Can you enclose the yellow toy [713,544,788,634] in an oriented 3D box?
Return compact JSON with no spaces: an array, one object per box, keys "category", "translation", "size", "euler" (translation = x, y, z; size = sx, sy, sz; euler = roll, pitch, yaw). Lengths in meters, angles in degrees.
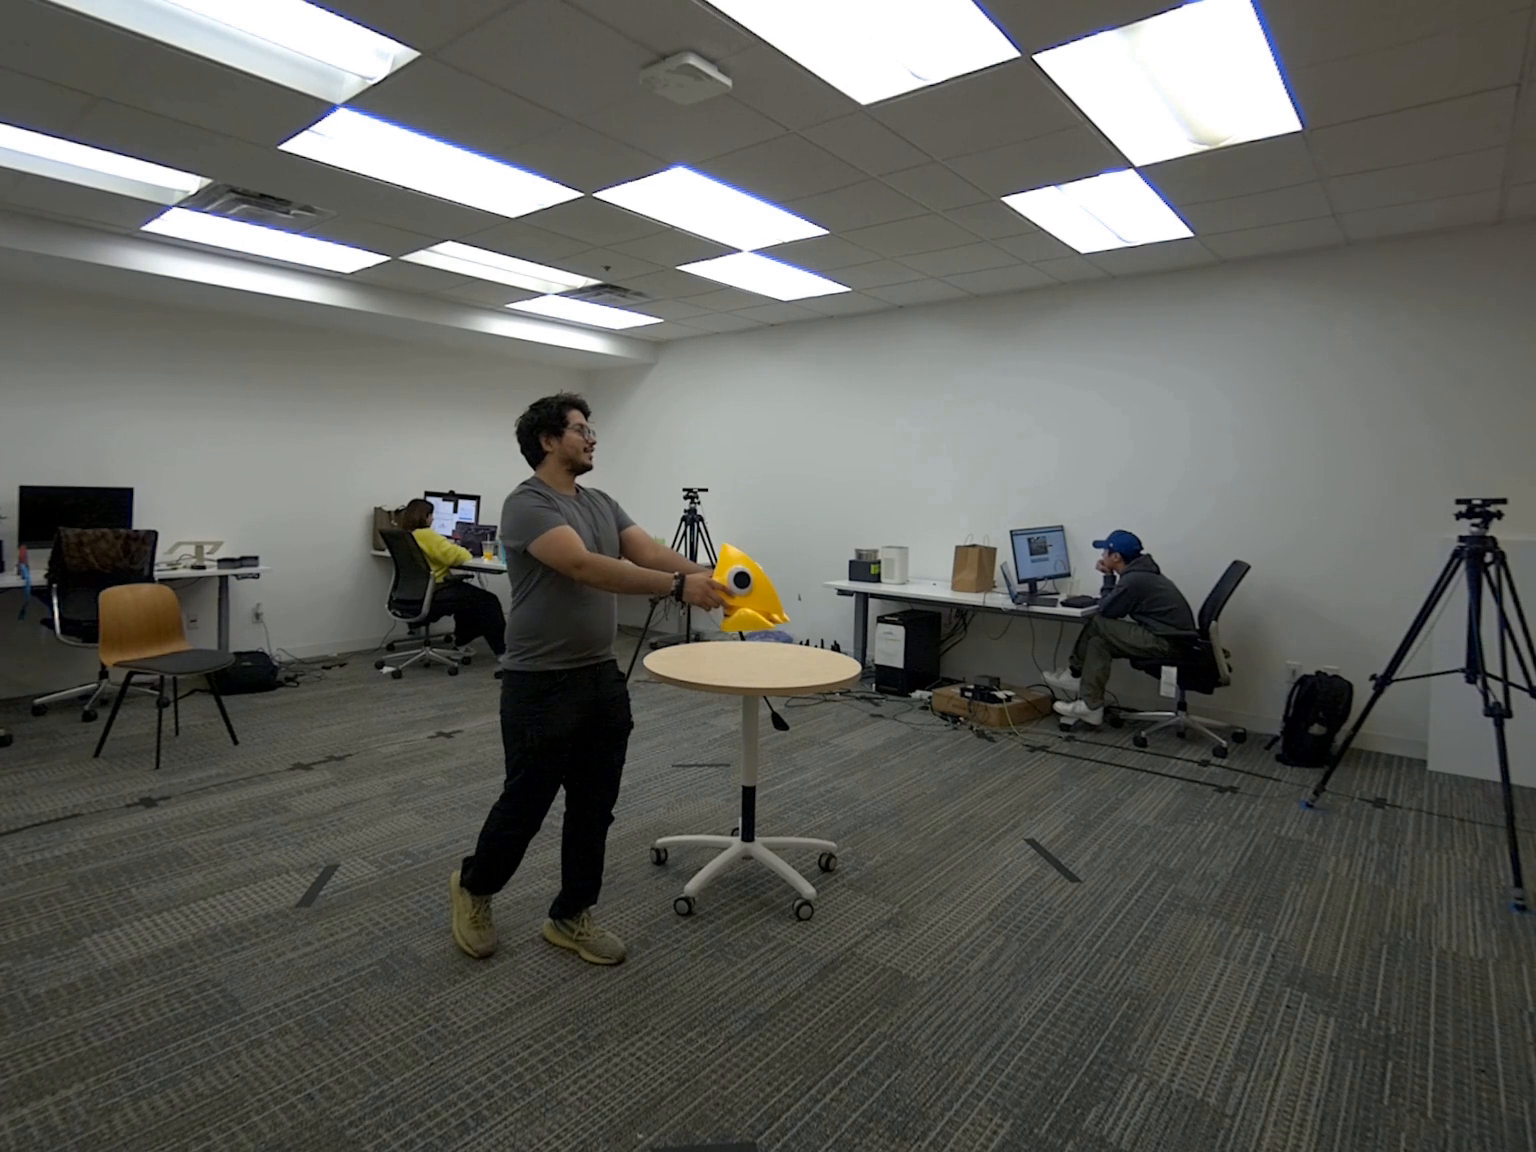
[{"category":"yellow toy","translation":[-0.067,0.022,2.278],"size":[0.197,0.231,0.200],"euler":[-5,0,23]}]
